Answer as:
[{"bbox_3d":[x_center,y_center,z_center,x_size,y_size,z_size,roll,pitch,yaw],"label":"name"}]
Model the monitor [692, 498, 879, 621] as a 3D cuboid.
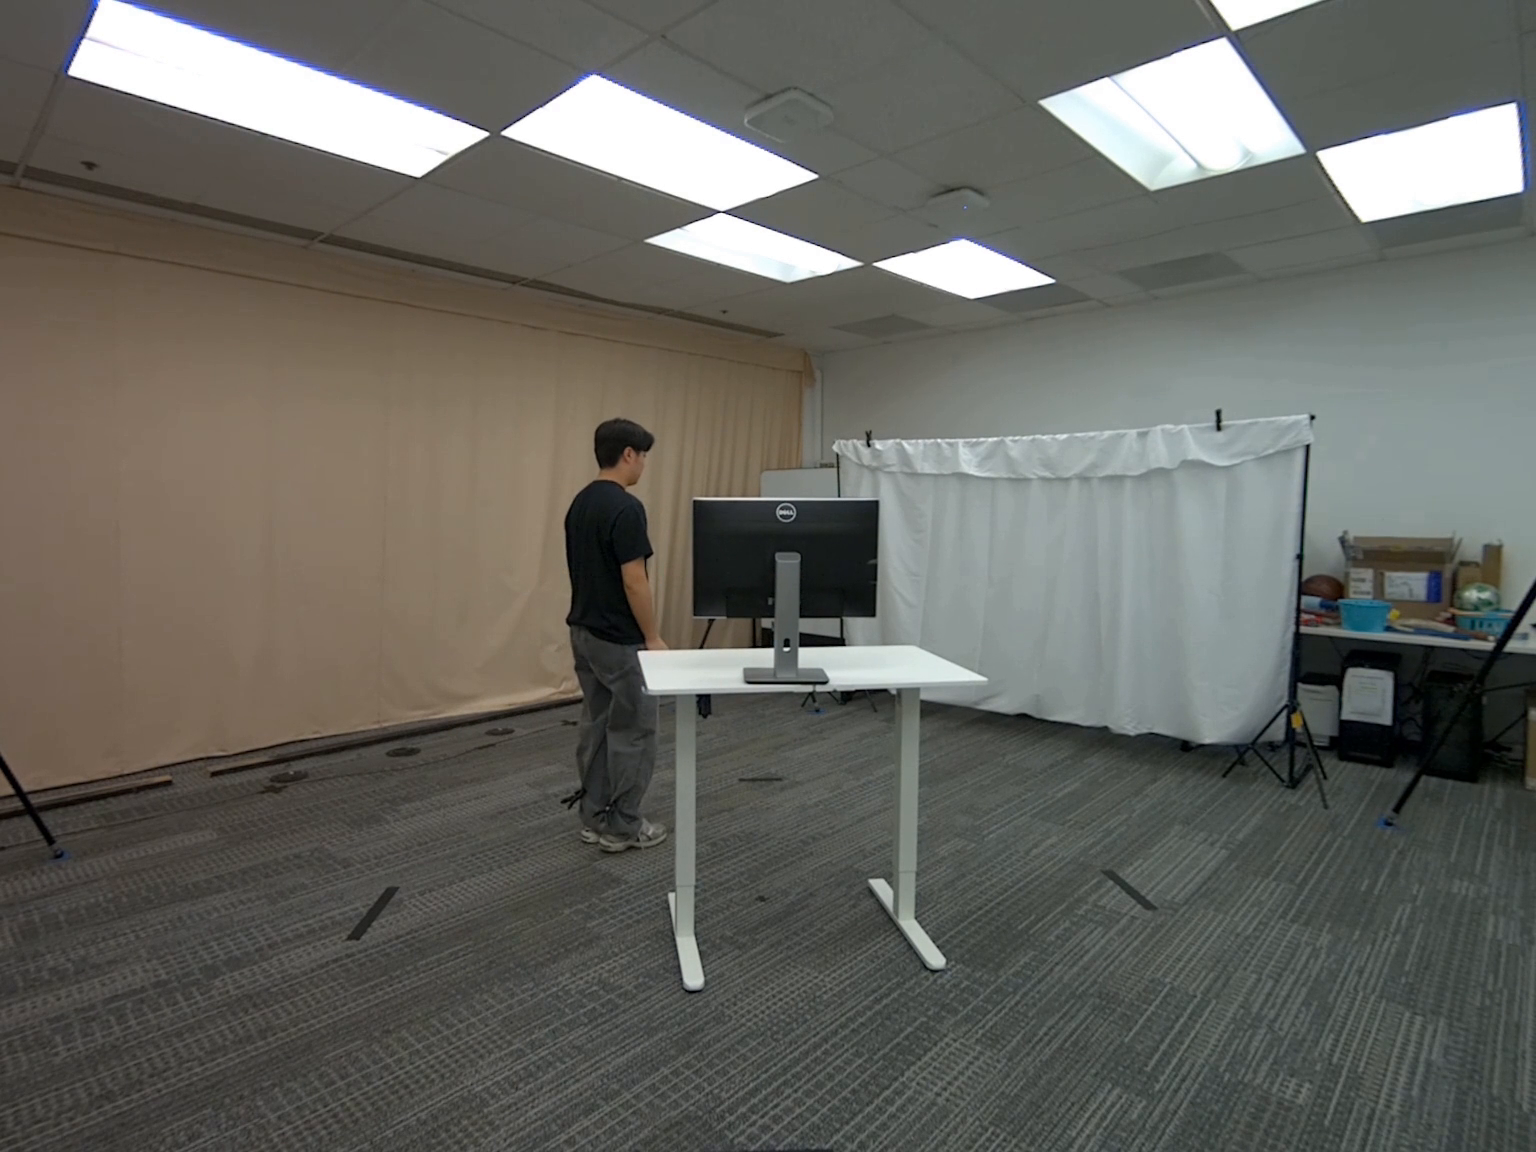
[{"bbox_3d":[0.051,0.048,2.481,0.563,0.567,0.221,1,-4,2],"label":"monitor"}]
